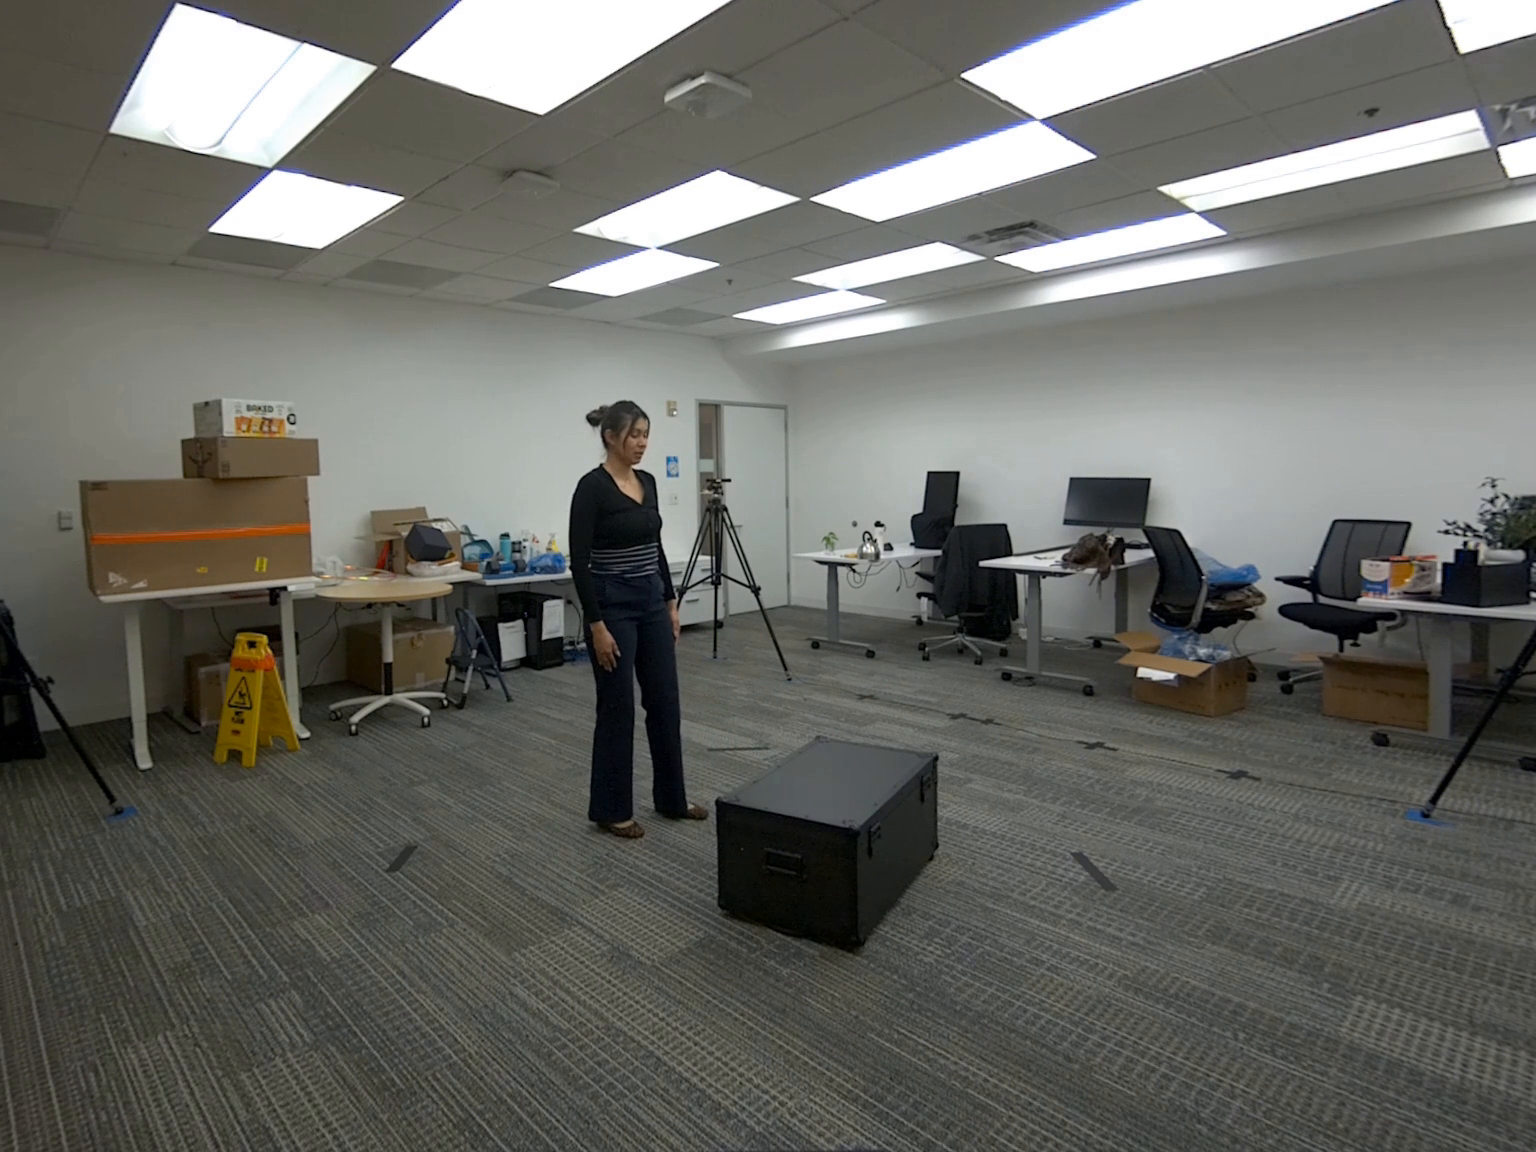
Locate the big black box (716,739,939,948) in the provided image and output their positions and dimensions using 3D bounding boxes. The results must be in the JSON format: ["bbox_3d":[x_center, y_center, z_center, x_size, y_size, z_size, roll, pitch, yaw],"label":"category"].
[{"bbox_3d":[0.250,0.865,2.956,0.535,0.394,0.843,1,7,29],"label":"big black box"}]
